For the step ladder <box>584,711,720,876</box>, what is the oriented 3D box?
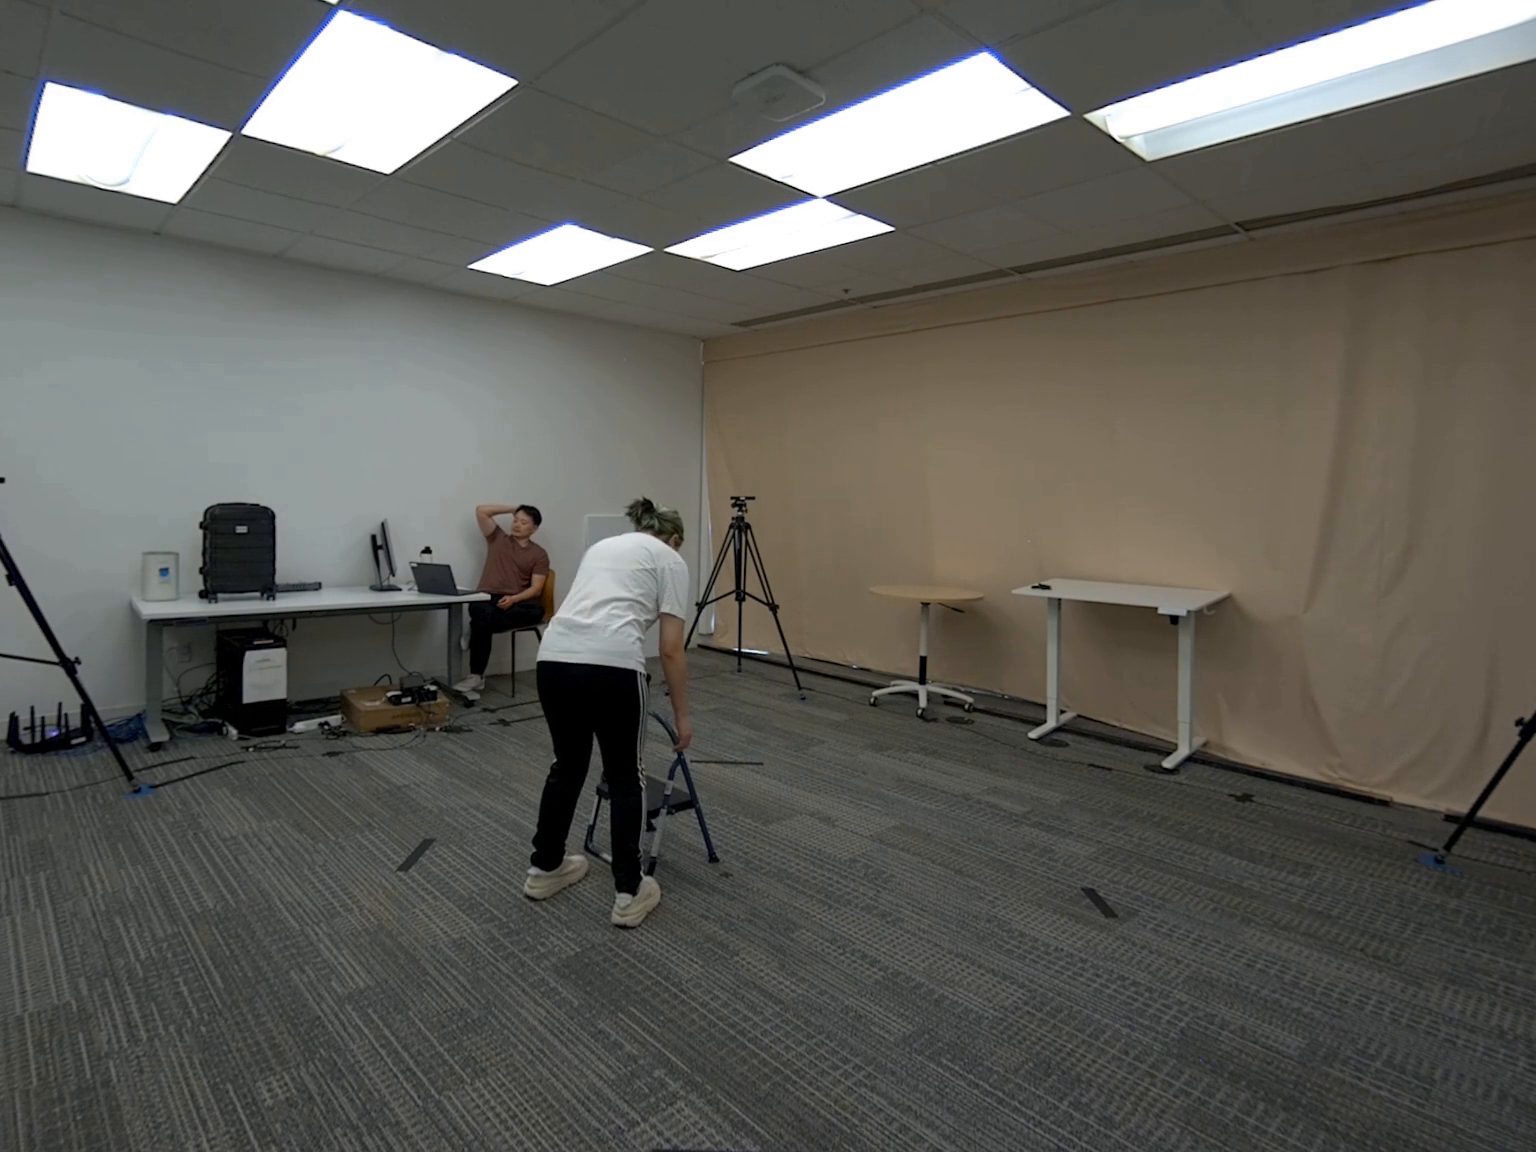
[{"bbox_3d":[-0.454,0.783,3.245,0.341,0.605,0.441,-2,4,-44],"label":"step ladder"}]
